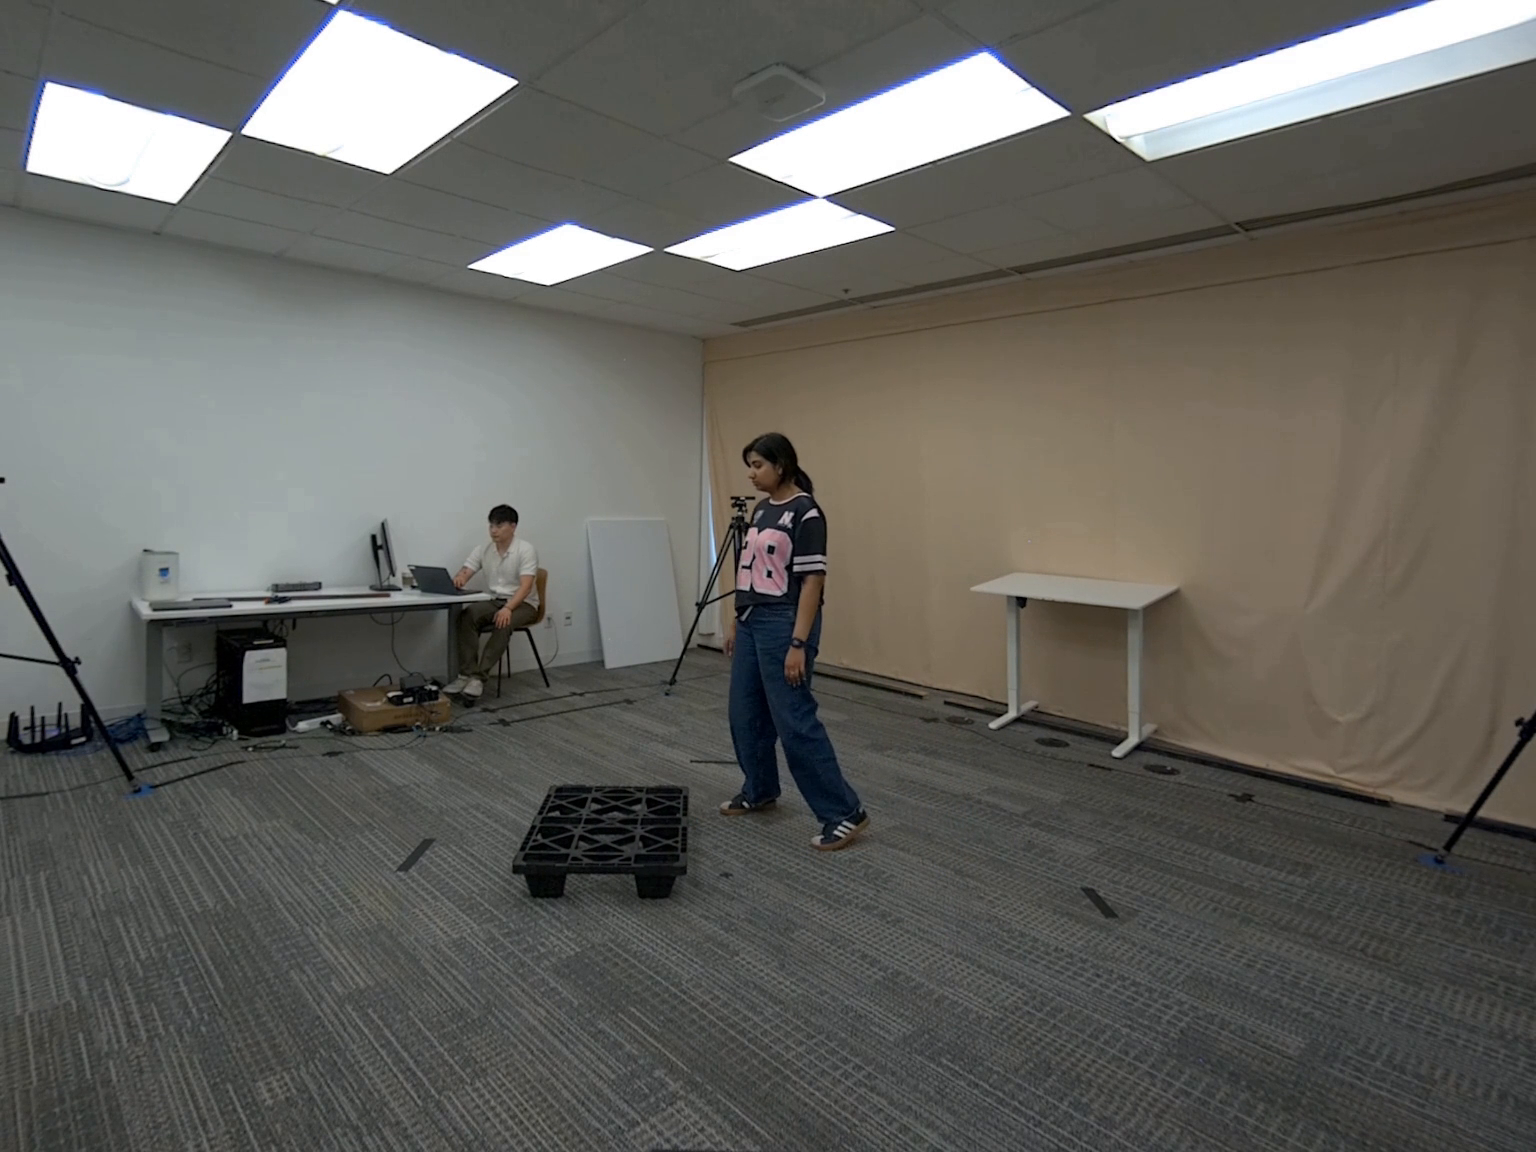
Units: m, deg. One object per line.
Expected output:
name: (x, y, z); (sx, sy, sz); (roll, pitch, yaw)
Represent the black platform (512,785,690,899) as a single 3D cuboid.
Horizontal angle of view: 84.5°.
black platform: (-0.616, 1.013, 3.262); (0.603, 0.143, 0.810); (2, 5, -4)
